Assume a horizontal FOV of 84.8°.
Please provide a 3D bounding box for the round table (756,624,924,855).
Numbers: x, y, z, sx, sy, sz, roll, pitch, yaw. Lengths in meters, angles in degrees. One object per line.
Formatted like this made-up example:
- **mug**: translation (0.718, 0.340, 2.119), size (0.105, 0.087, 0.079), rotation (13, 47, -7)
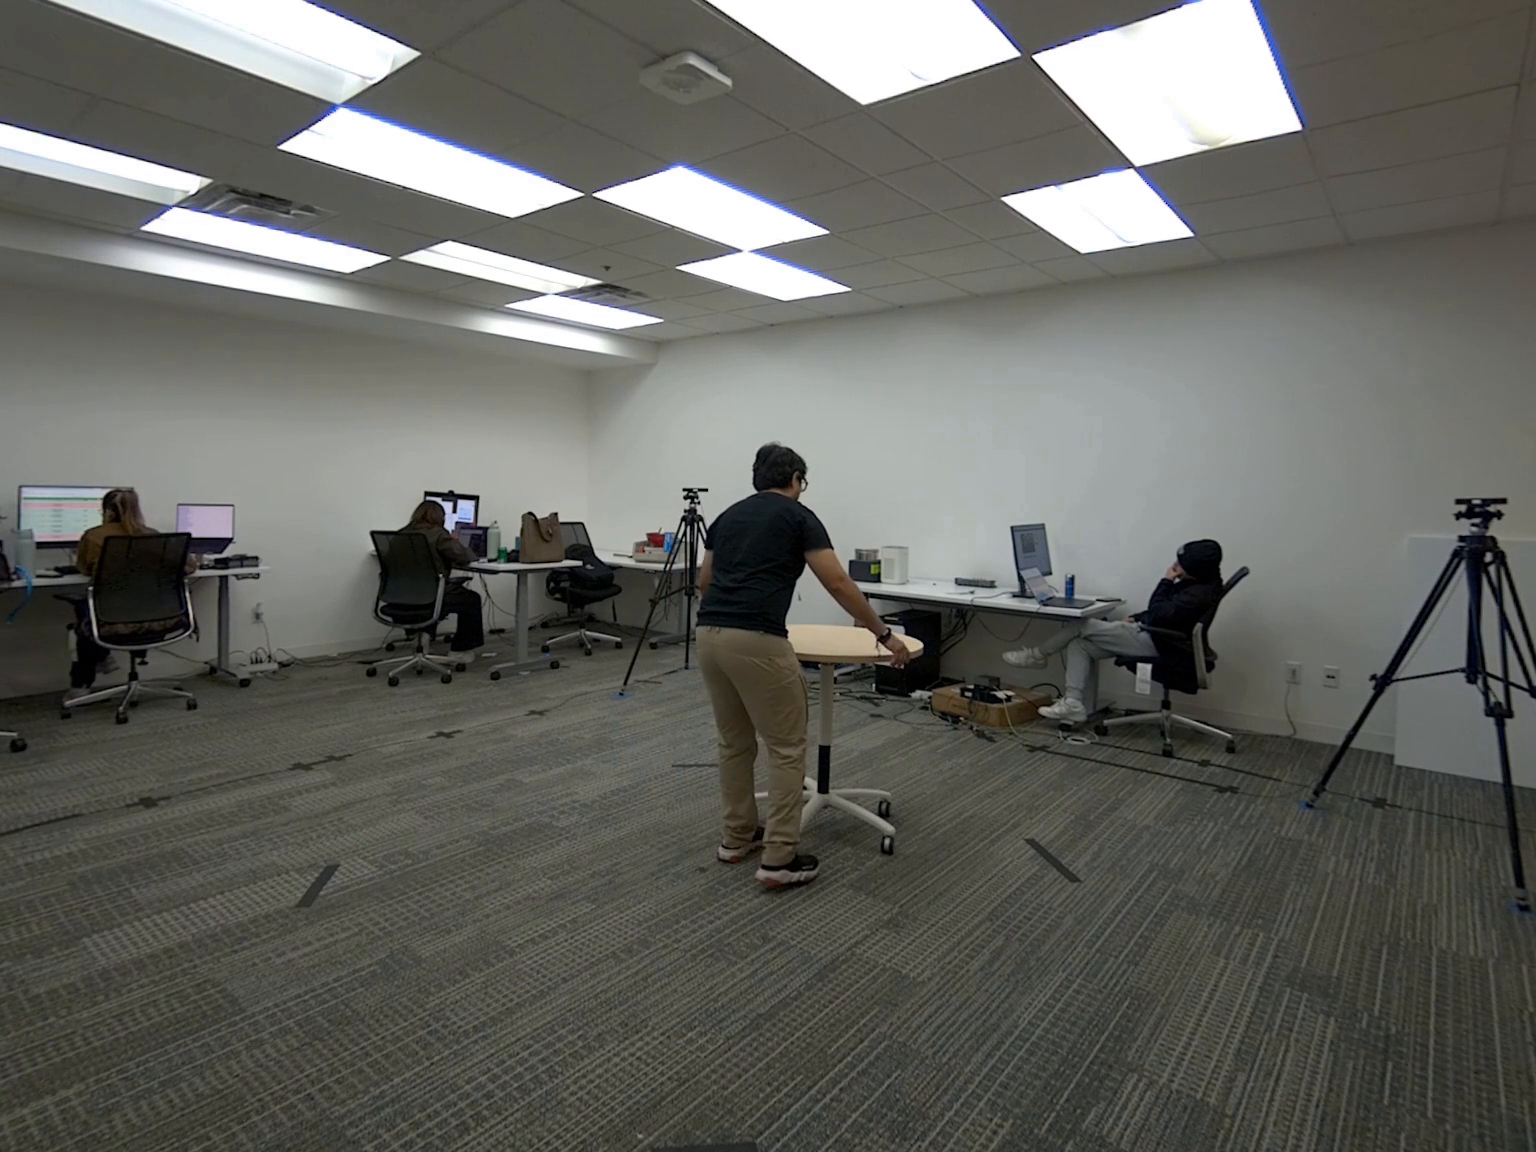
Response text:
- **round table**: translation (0.211, 0.641, 3.535), size (0.784, 0.784, 0.789), rotation (1, 4, -2)
